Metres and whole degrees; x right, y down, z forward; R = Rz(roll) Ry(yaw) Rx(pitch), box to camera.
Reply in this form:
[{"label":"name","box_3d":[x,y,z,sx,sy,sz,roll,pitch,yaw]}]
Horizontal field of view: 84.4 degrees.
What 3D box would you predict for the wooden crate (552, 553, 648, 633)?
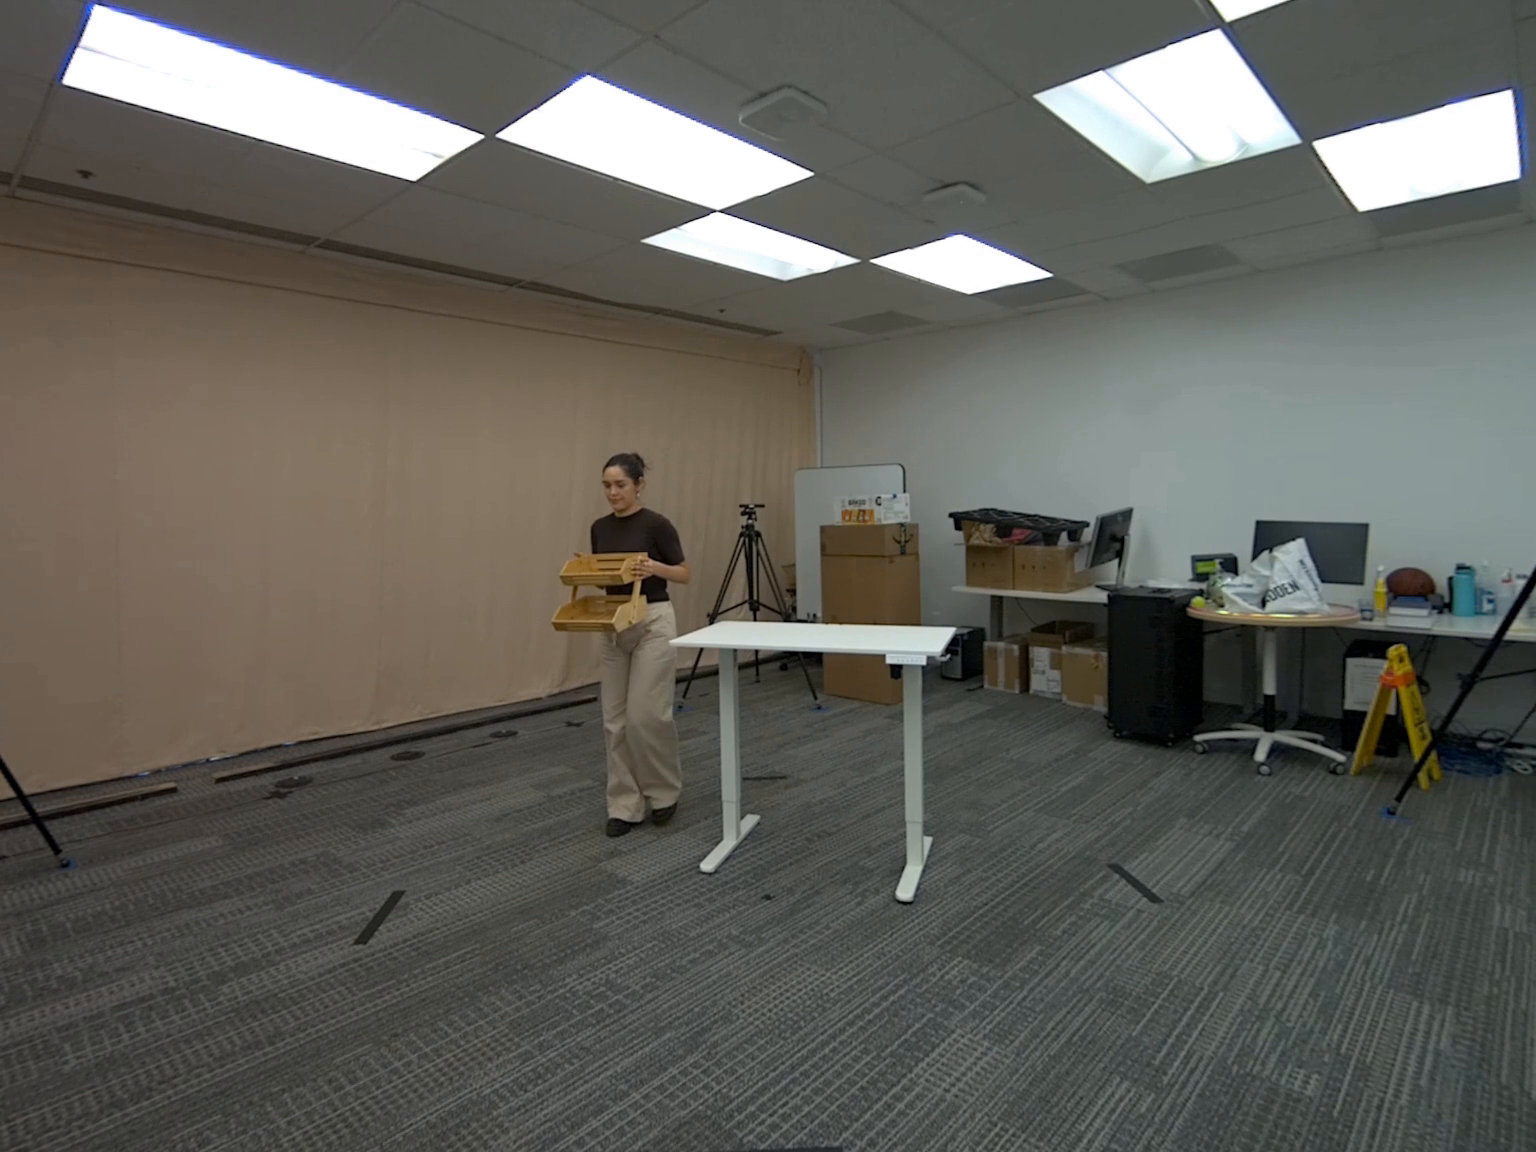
[{"label":"wooden crate","box_3d":[-0.670,0.062,3.412,0.333,0.271,0.296,-1,11,25]}]
